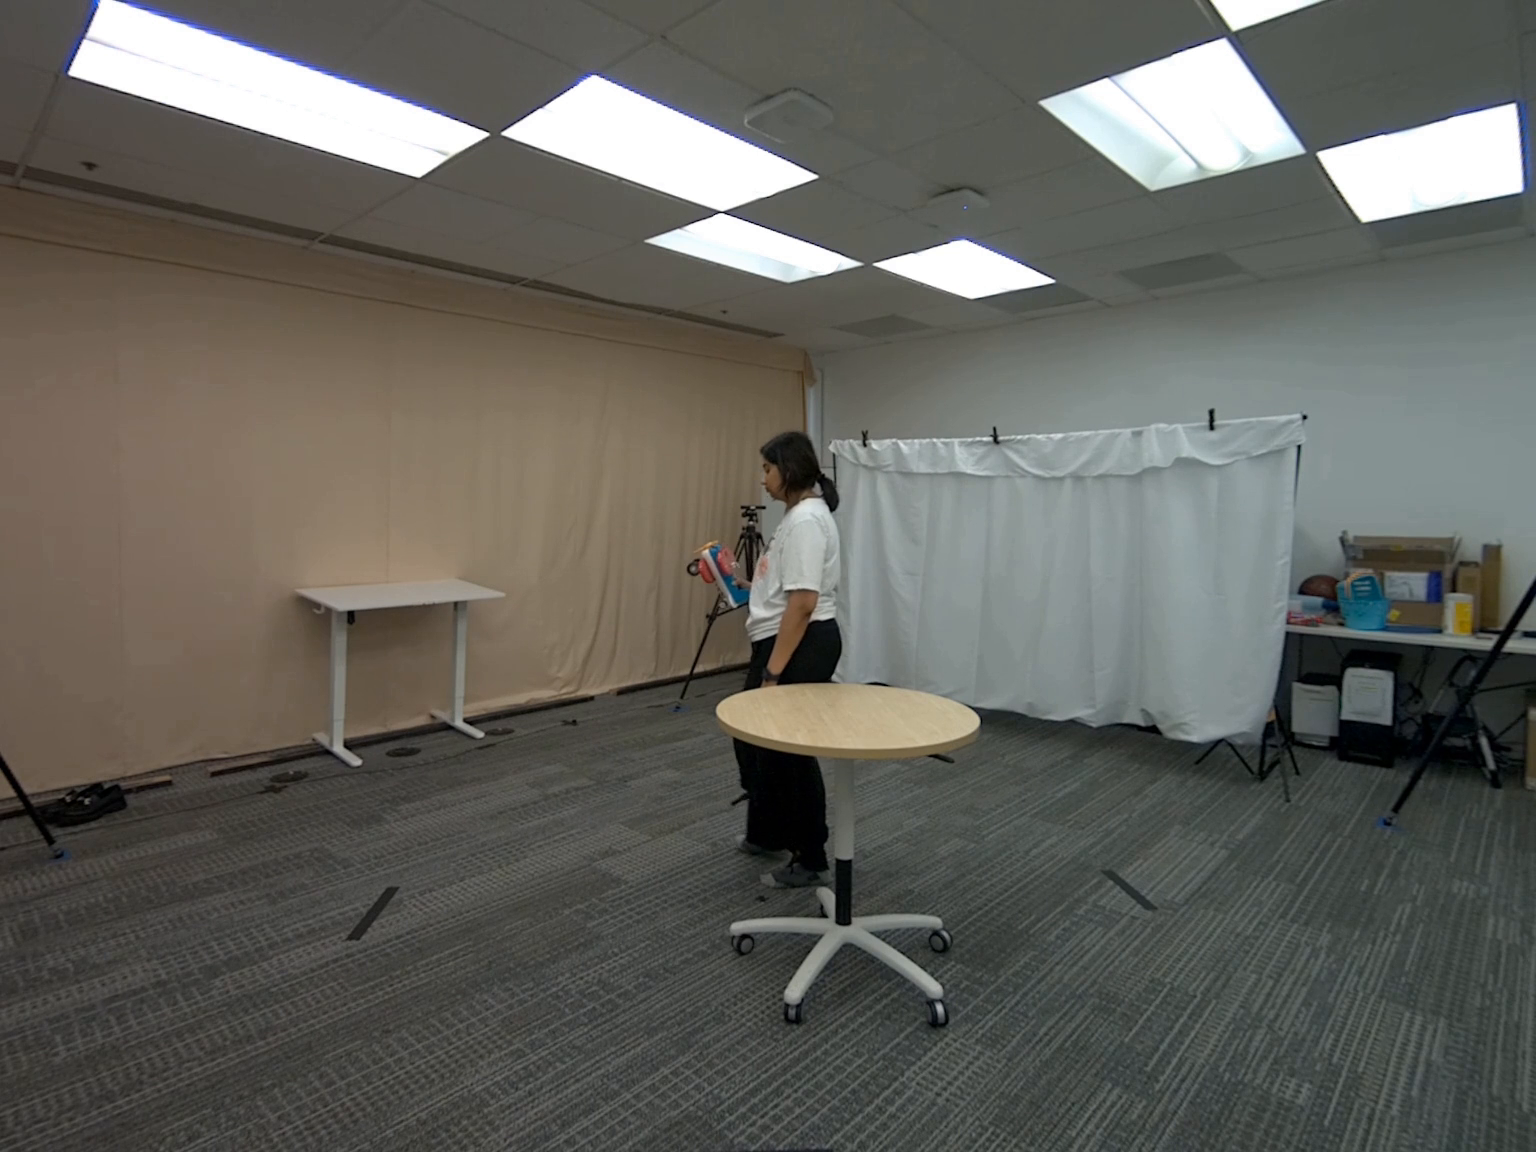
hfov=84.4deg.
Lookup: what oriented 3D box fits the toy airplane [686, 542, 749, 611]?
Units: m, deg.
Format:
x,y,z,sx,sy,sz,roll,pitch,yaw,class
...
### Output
x,y,z,sx,sy,sz,roll,pitch,yaw,class
-0.184,-0.007,3.228,0.157,0.251,0.257,-40,30,11,toy airplane
